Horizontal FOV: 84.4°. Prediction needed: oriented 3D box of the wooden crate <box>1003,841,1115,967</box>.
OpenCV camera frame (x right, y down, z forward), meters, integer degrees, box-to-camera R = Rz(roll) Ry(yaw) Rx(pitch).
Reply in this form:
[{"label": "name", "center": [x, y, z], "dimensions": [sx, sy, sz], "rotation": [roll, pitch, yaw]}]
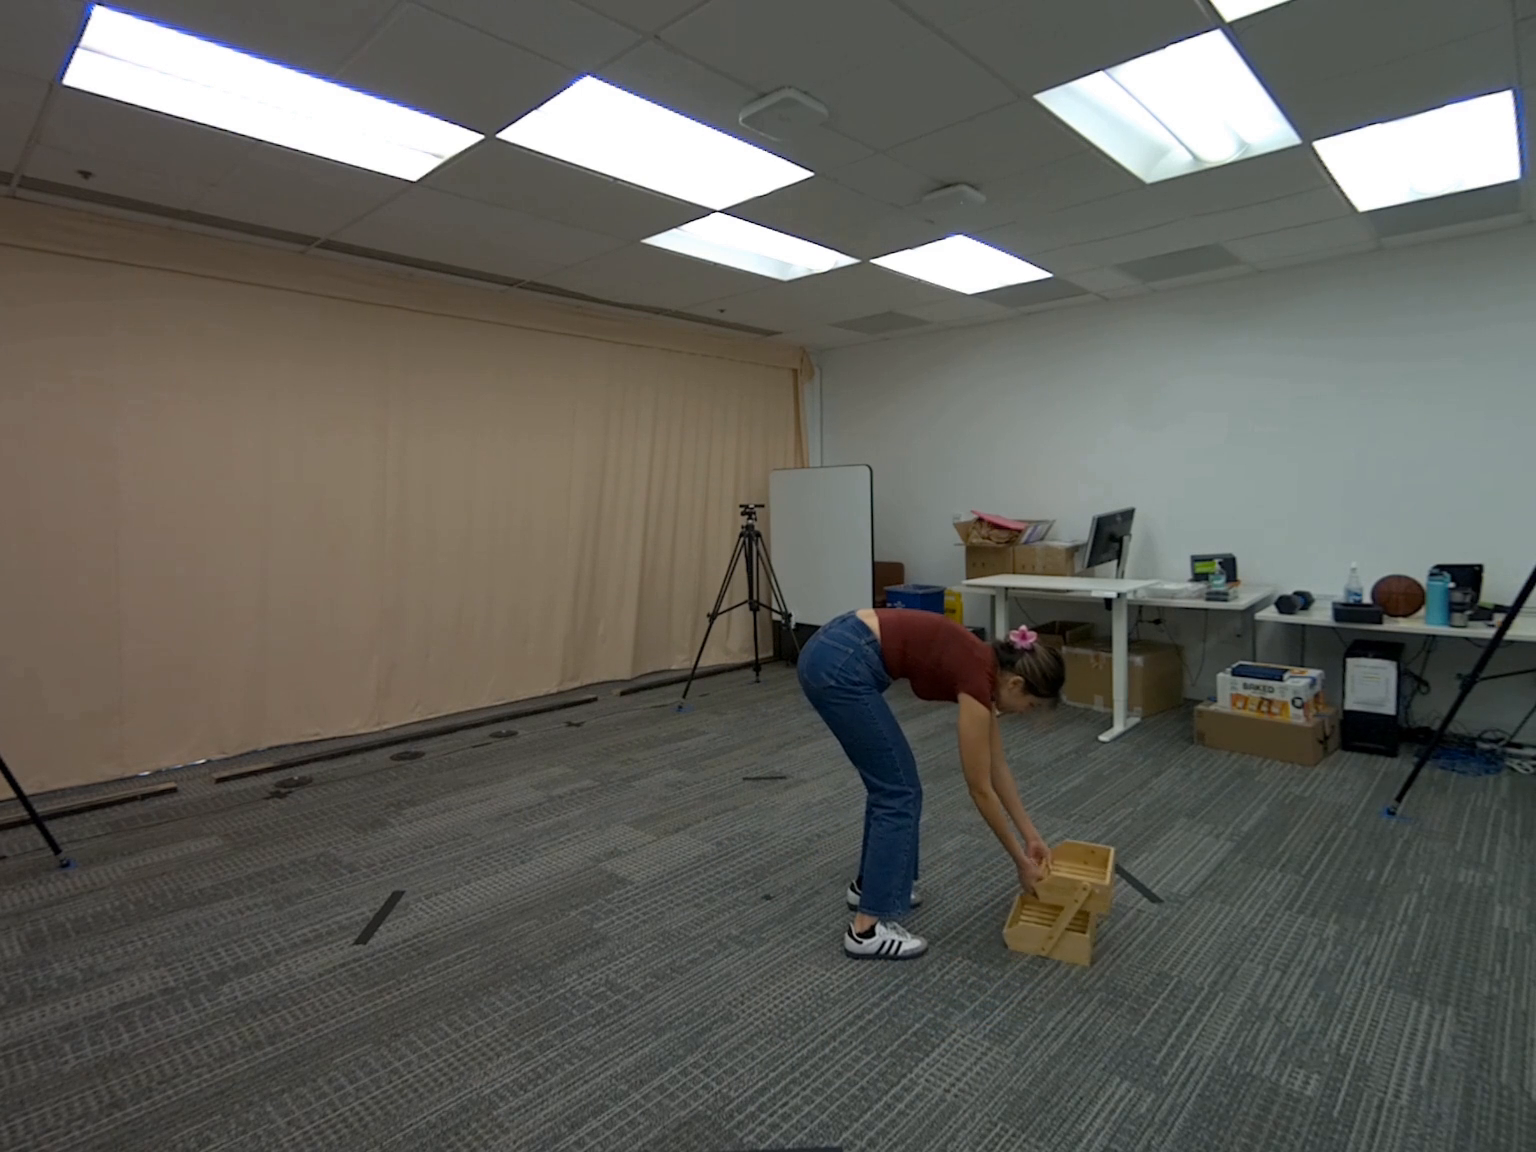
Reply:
[{"label": "wooden crate", "center": [0.932, 1.017, 2.673], "dimensions": [0.310, 0.273, 0.317], "rotation": [1, 4, 26]}]
